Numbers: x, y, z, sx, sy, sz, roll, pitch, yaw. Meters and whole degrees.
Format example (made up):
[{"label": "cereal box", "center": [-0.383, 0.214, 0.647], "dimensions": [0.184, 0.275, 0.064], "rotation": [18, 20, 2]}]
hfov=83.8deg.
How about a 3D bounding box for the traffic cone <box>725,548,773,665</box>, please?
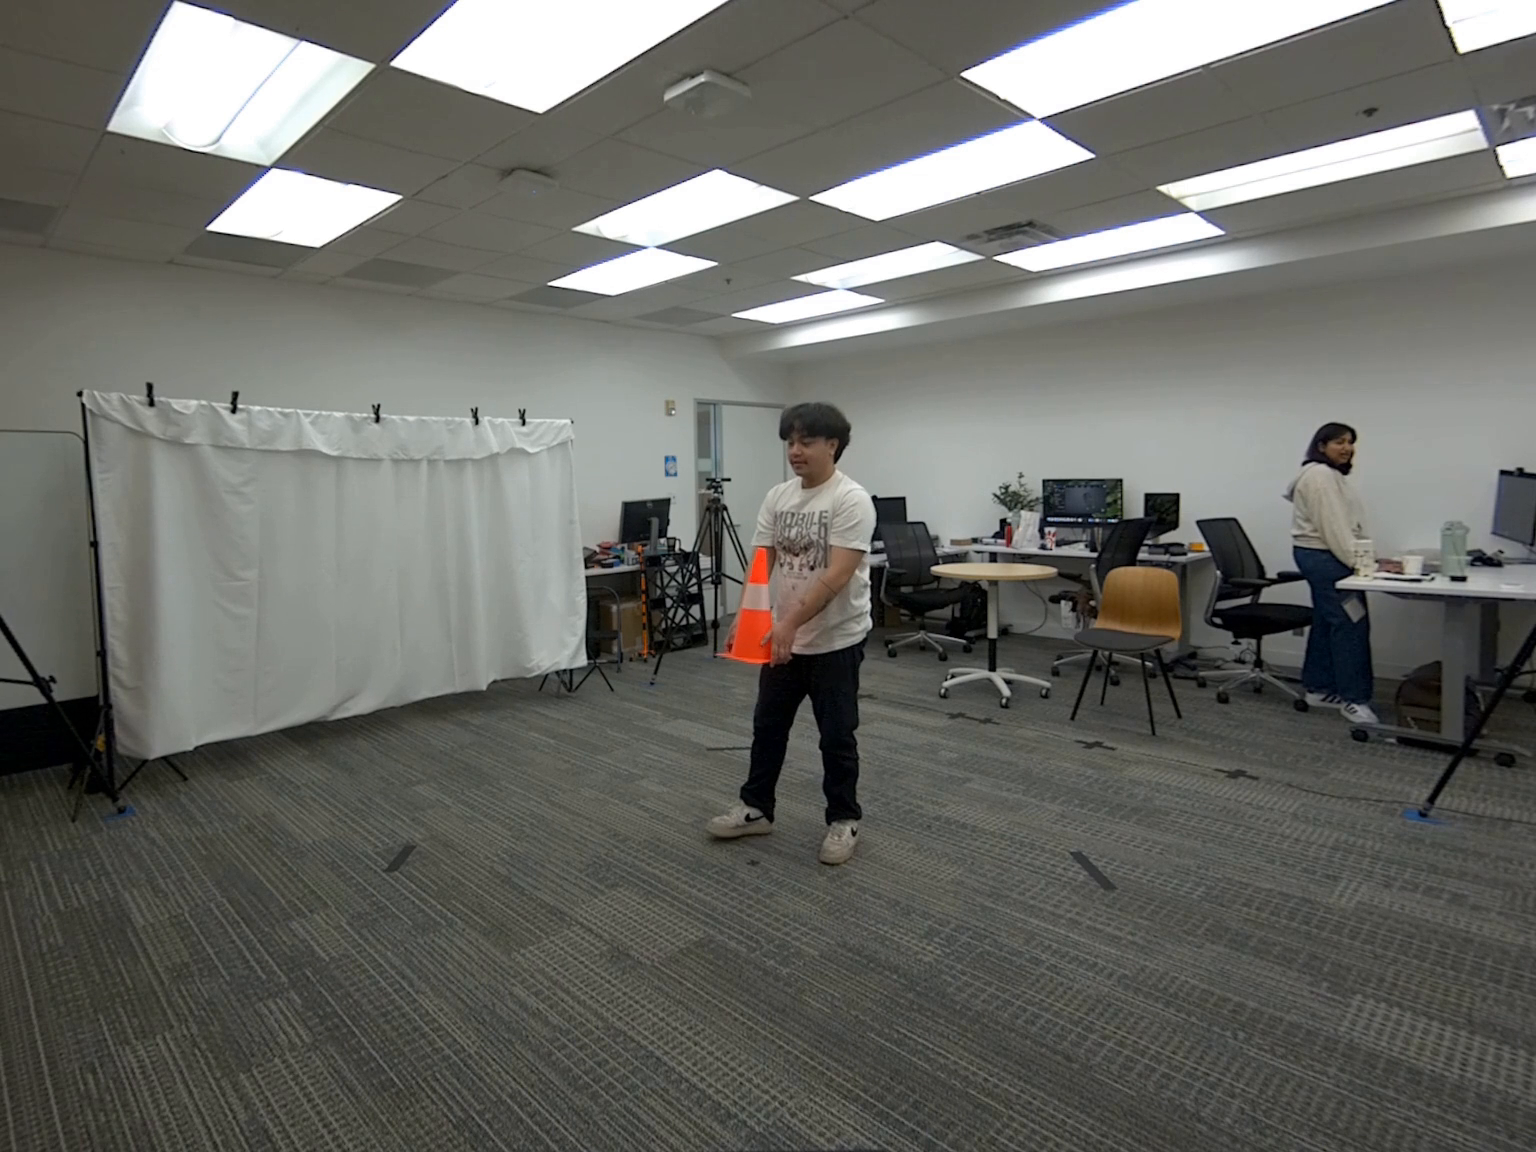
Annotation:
[{"label": "traffic cone", "center": [-0.037, 0.096, 2.988], "dimensions": [0.211, 0.383, 0.197], "rotation": [4, 1, 36]}]
